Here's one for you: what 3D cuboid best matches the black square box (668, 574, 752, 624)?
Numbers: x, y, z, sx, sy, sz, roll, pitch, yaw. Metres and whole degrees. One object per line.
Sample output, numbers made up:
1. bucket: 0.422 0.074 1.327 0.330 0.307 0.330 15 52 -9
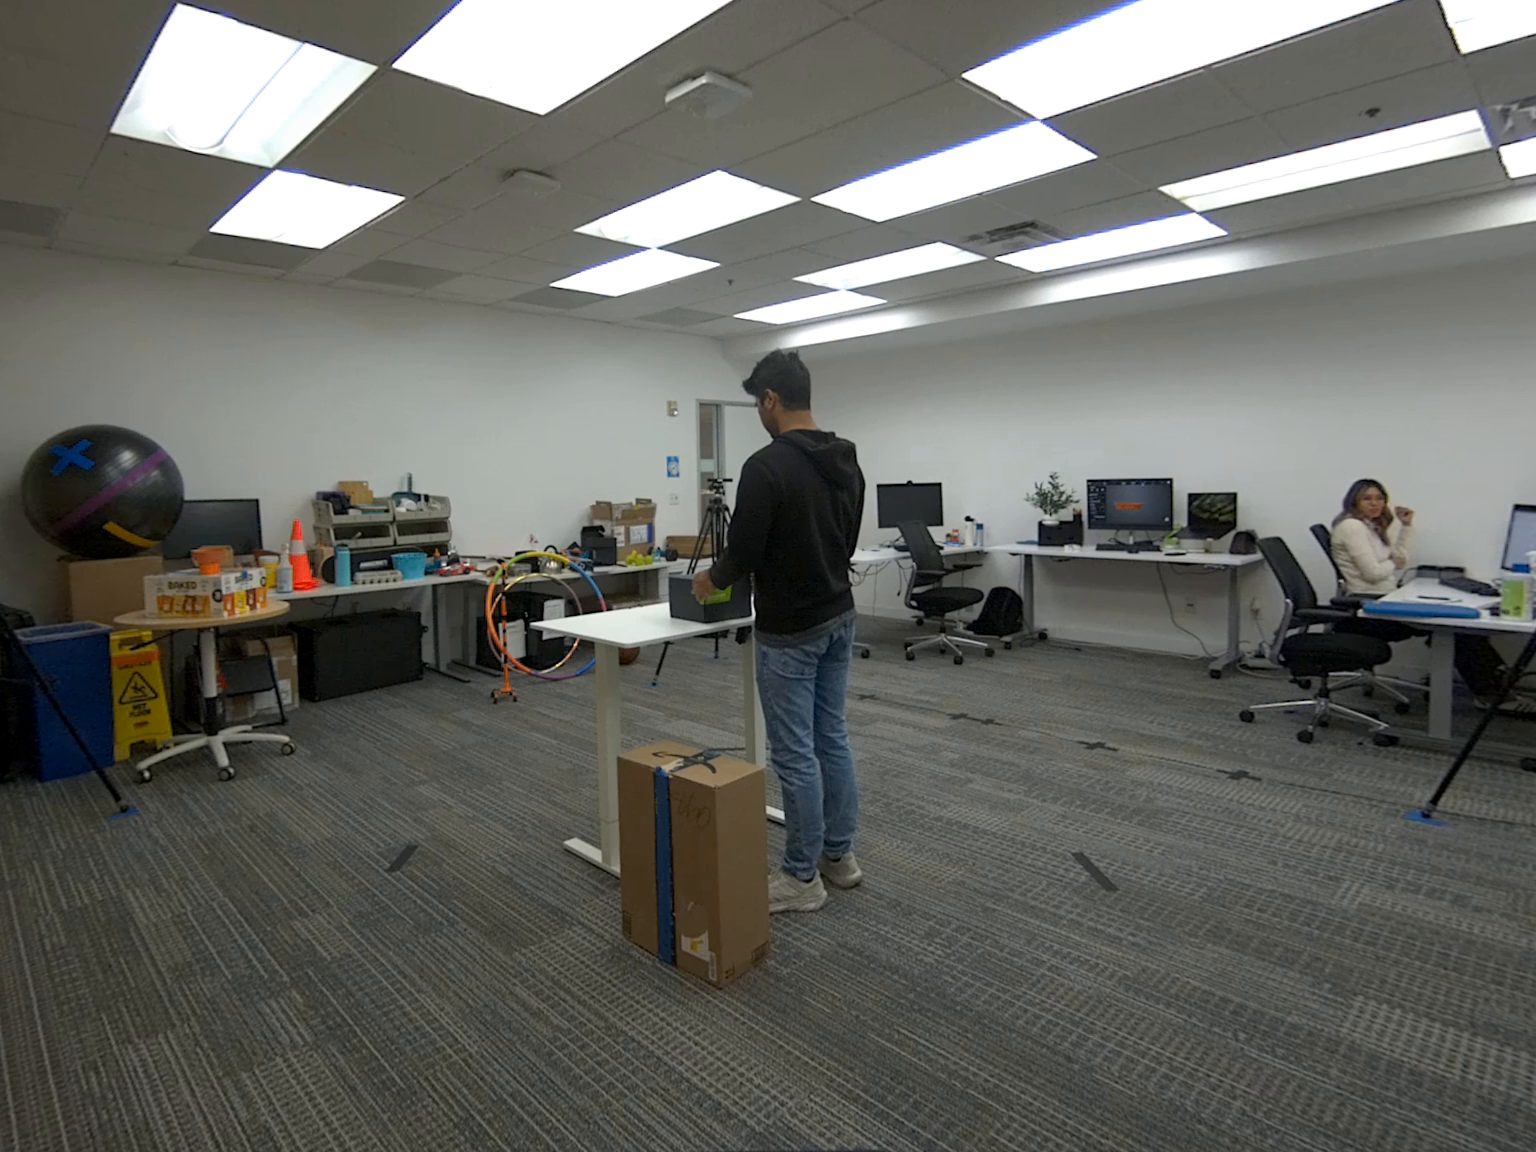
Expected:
1. black square box: -0.216 0.073 3.194 0.222 0.155 0.224 -6 7 -41
